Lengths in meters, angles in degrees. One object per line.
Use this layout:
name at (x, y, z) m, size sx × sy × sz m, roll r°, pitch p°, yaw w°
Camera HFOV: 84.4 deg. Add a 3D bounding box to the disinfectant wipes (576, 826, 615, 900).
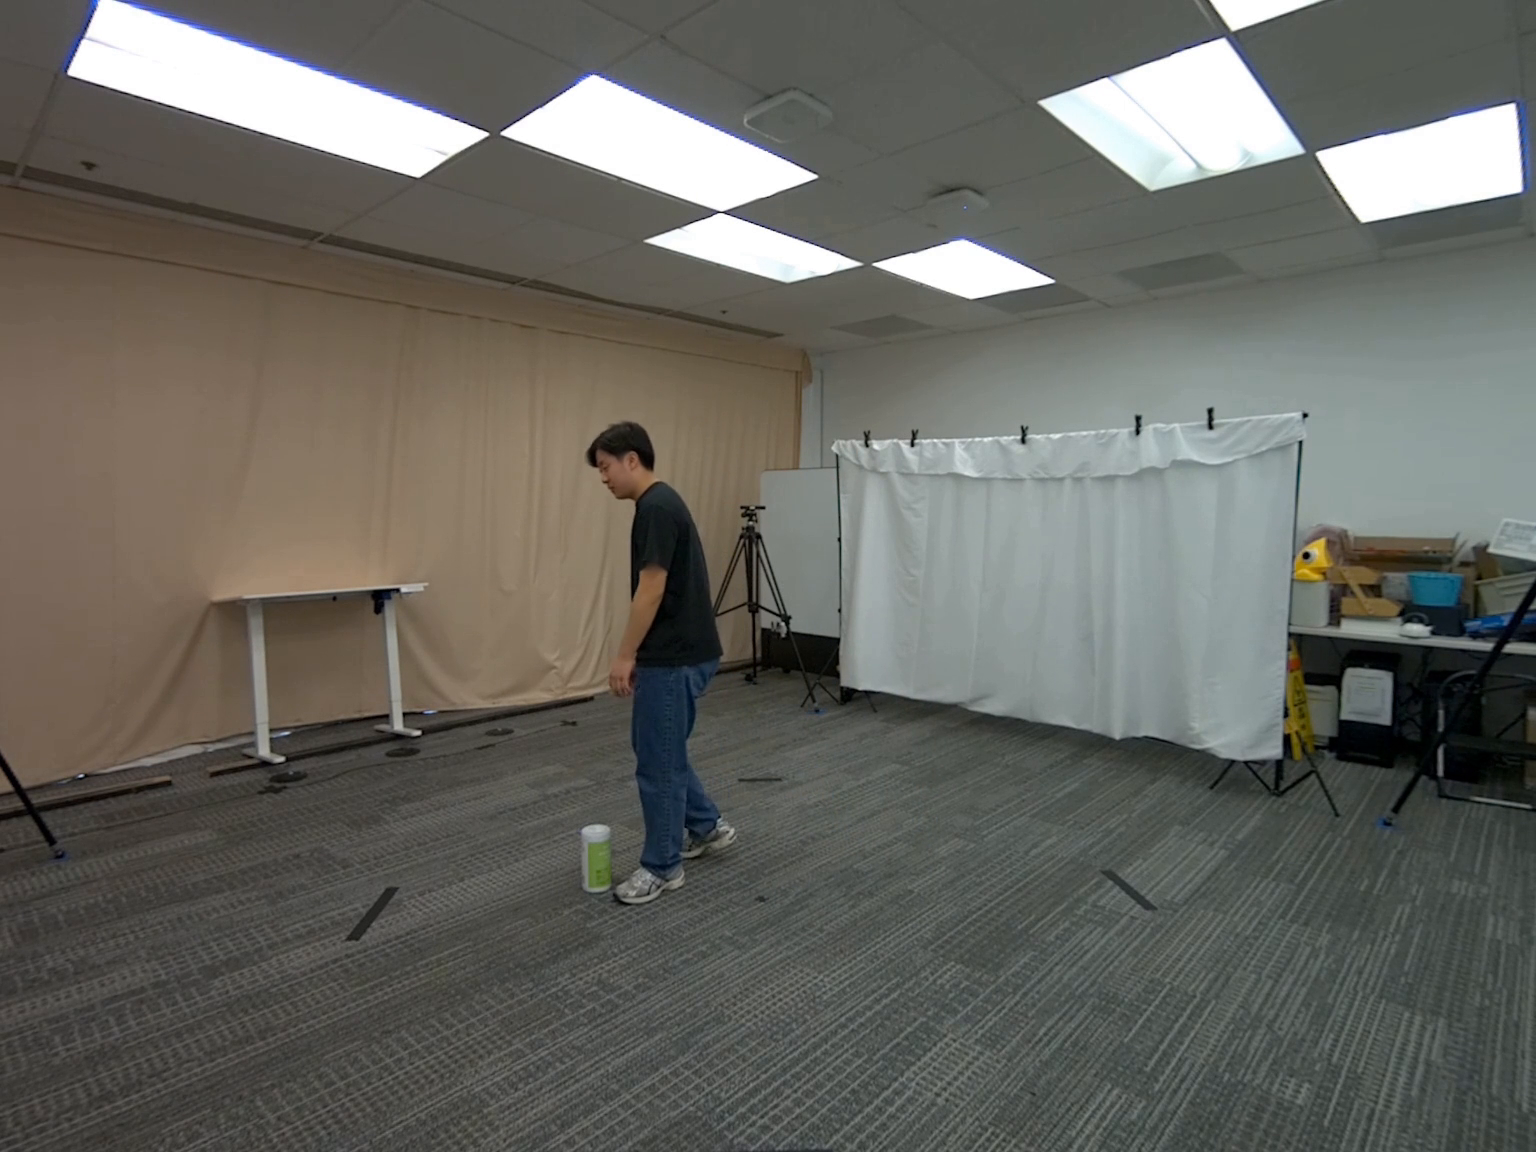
disinfectant wipes at (-0.629, 1.041, 3.084) m, size 0.118 × 0.217 × 0.118 m, roll -1°, pitch 2°, yaw -2°
